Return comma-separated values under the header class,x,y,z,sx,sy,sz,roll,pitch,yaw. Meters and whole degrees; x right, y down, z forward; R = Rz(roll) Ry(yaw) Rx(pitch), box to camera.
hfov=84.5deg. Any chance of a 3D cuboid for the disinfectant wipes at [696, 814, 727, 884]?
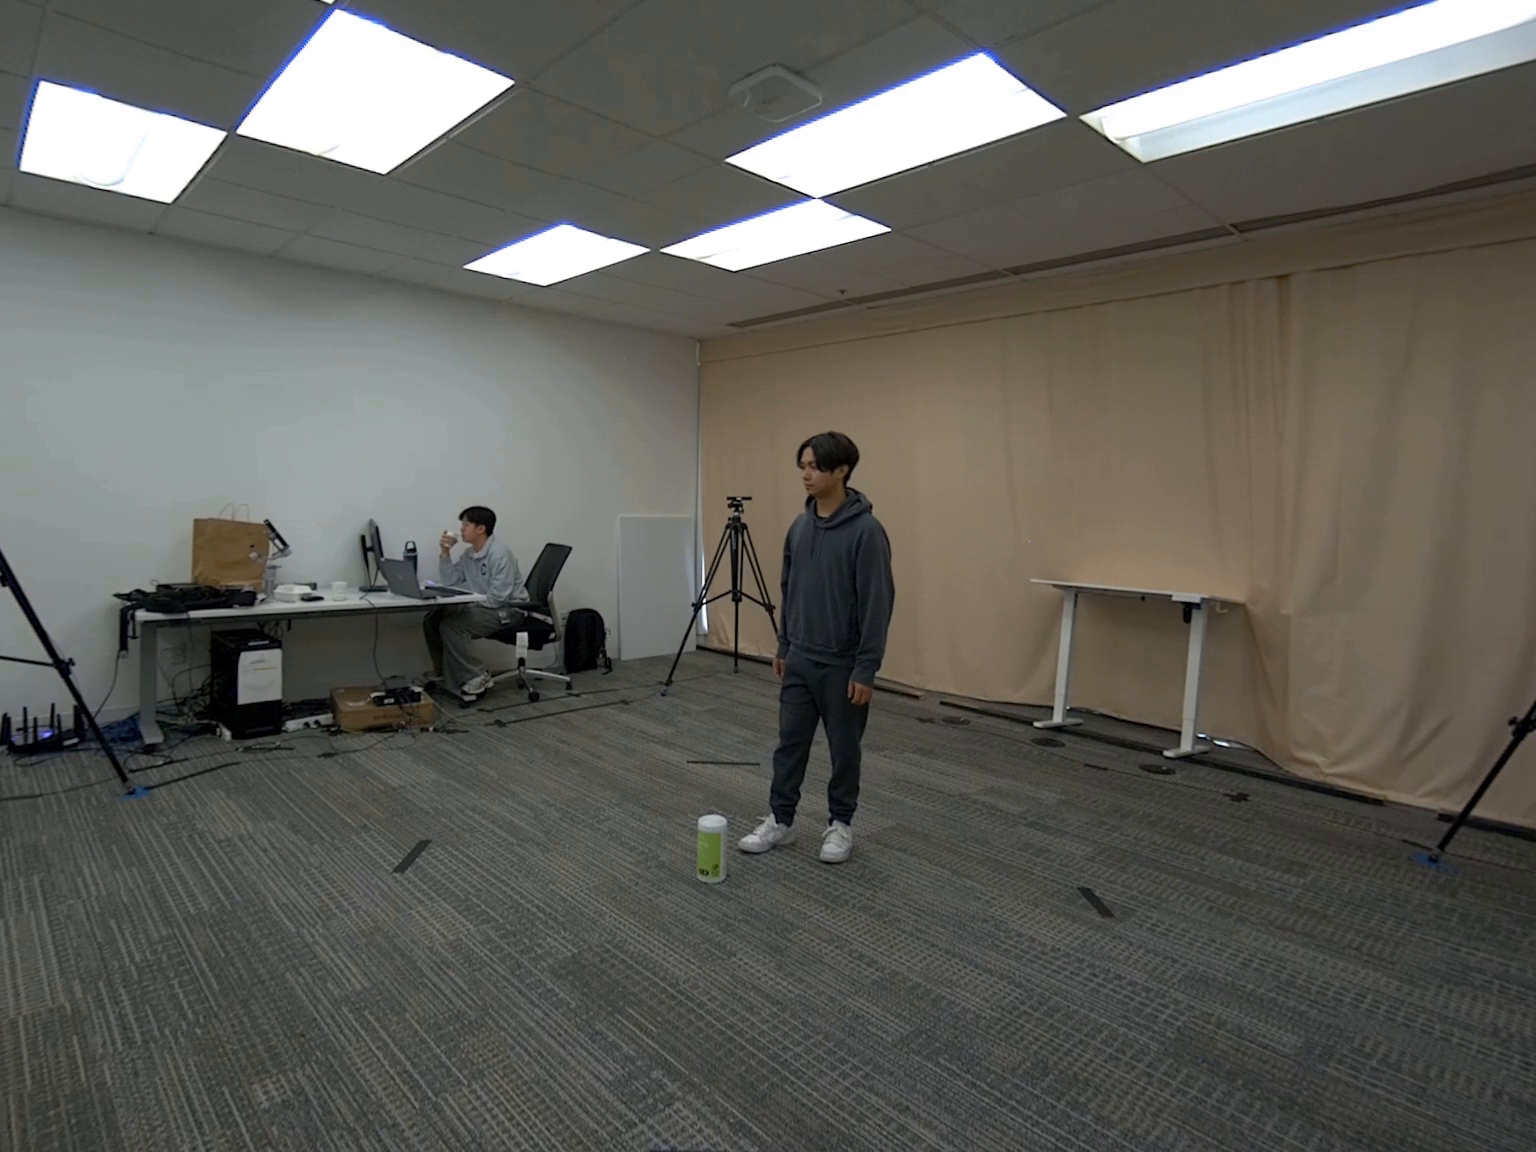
class,x,y,z,sx,sy,sz,roll,pitch,yaw
disinfectant wipes,-0.210,0.999,3.084,0.118,0.217,0.118,1,4,-1
